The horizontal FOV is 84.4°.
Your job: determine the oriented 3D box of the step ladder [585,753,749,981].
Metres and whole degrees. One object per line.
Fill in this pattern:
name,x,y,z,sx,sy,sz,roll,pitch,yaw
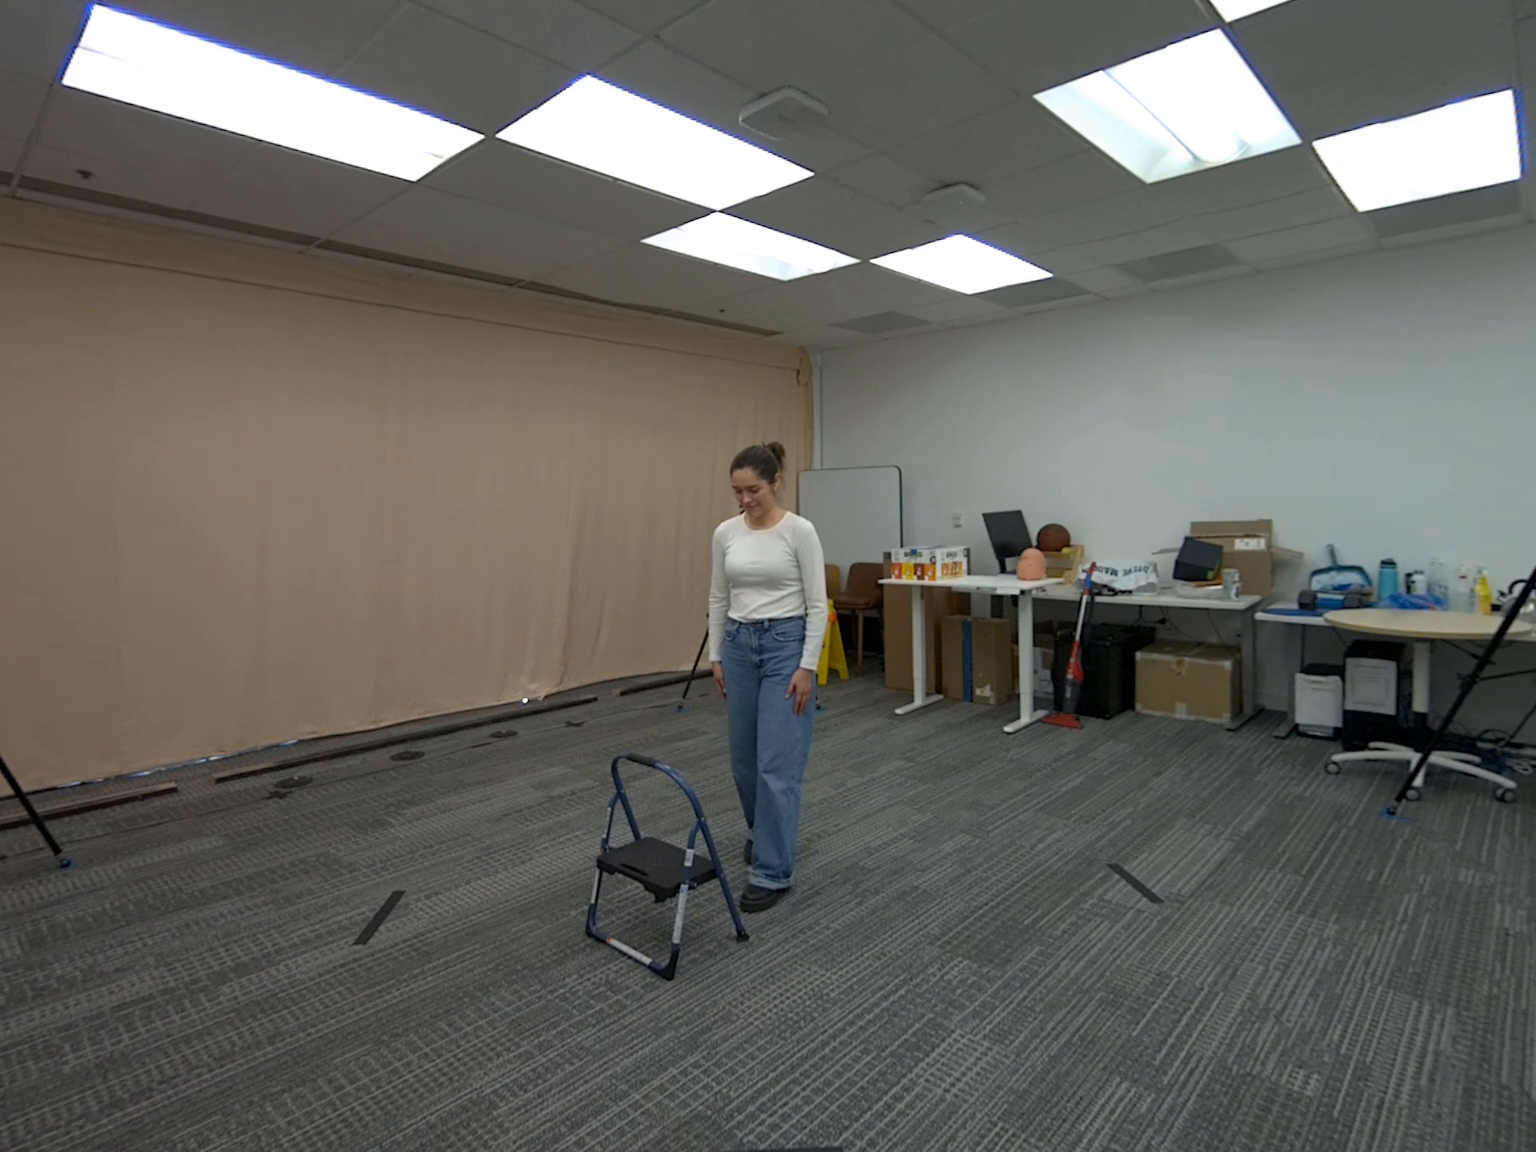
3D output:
step ladder,-0.334,0.865,2.718,0.445,0.605,0.338,2,4,42
